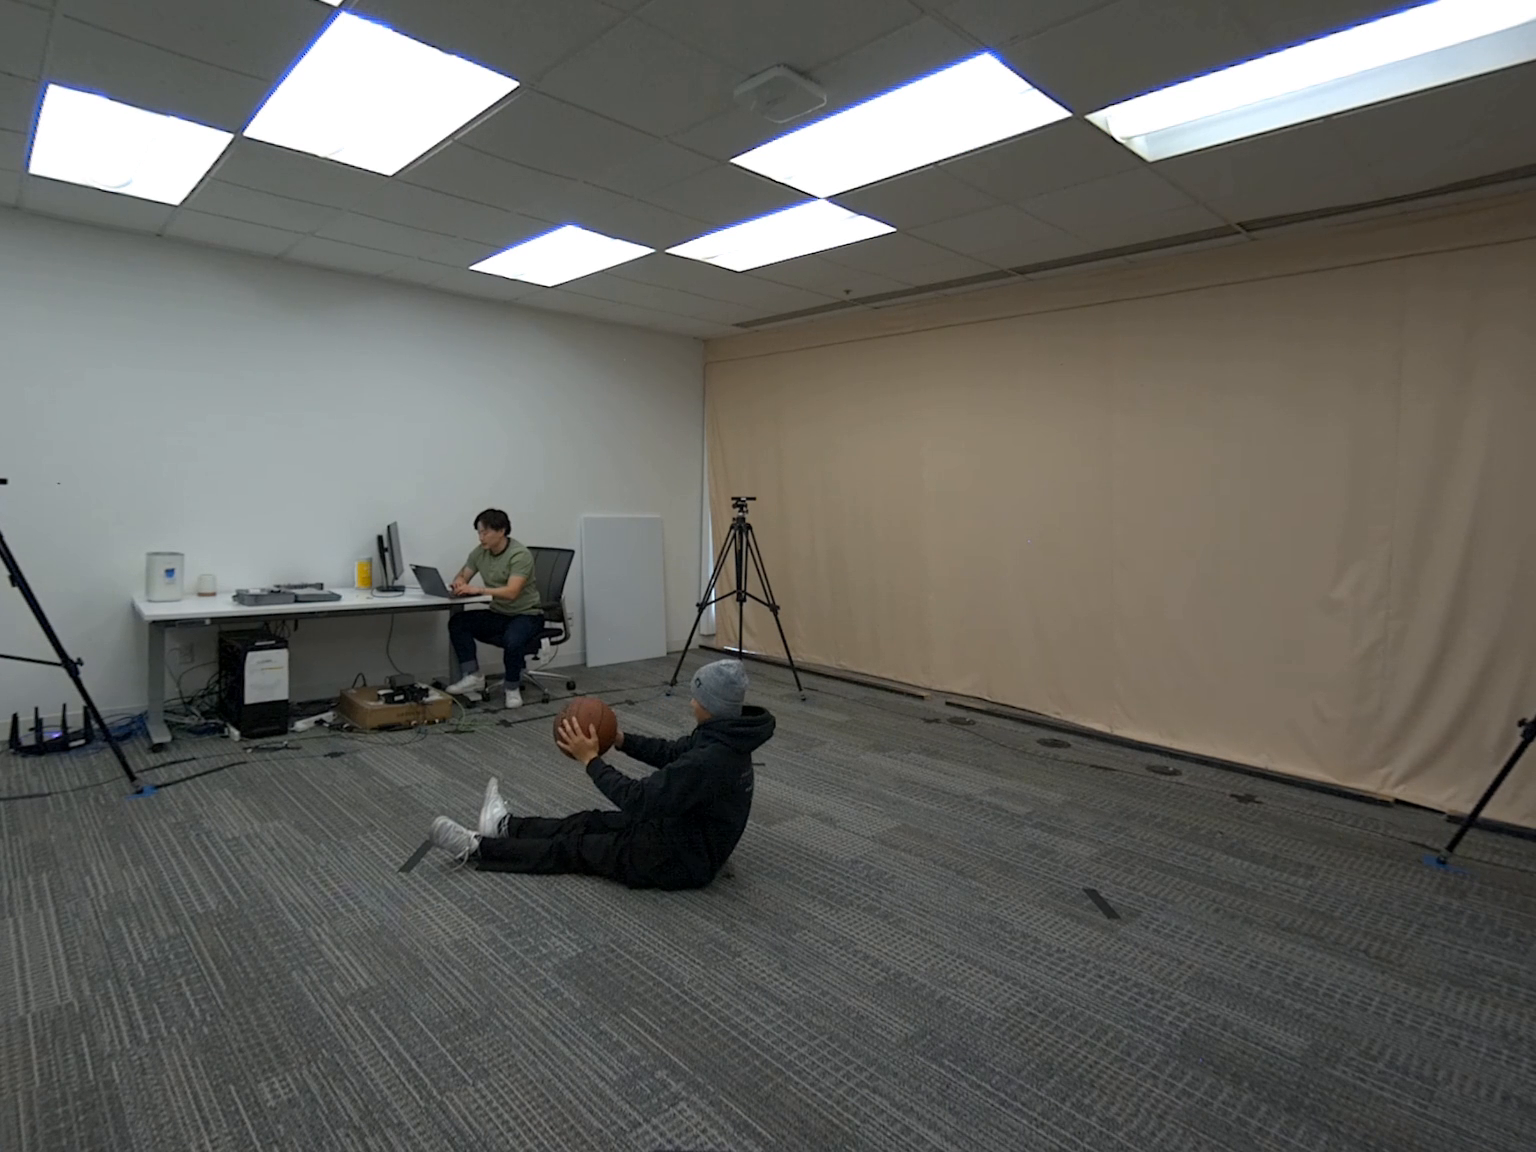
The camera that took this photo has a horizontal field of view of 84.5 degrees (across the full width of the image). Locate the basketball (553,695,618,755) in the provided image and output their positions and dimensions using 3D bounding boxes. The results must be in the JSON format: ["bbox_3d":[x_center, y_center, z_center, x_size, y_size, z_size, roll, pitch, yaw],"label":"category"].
[{"bbox_3d":[-0.679,0.573,3.184,0.236,0.235,0.237,1,4,-1],"label":"basketball"}]
